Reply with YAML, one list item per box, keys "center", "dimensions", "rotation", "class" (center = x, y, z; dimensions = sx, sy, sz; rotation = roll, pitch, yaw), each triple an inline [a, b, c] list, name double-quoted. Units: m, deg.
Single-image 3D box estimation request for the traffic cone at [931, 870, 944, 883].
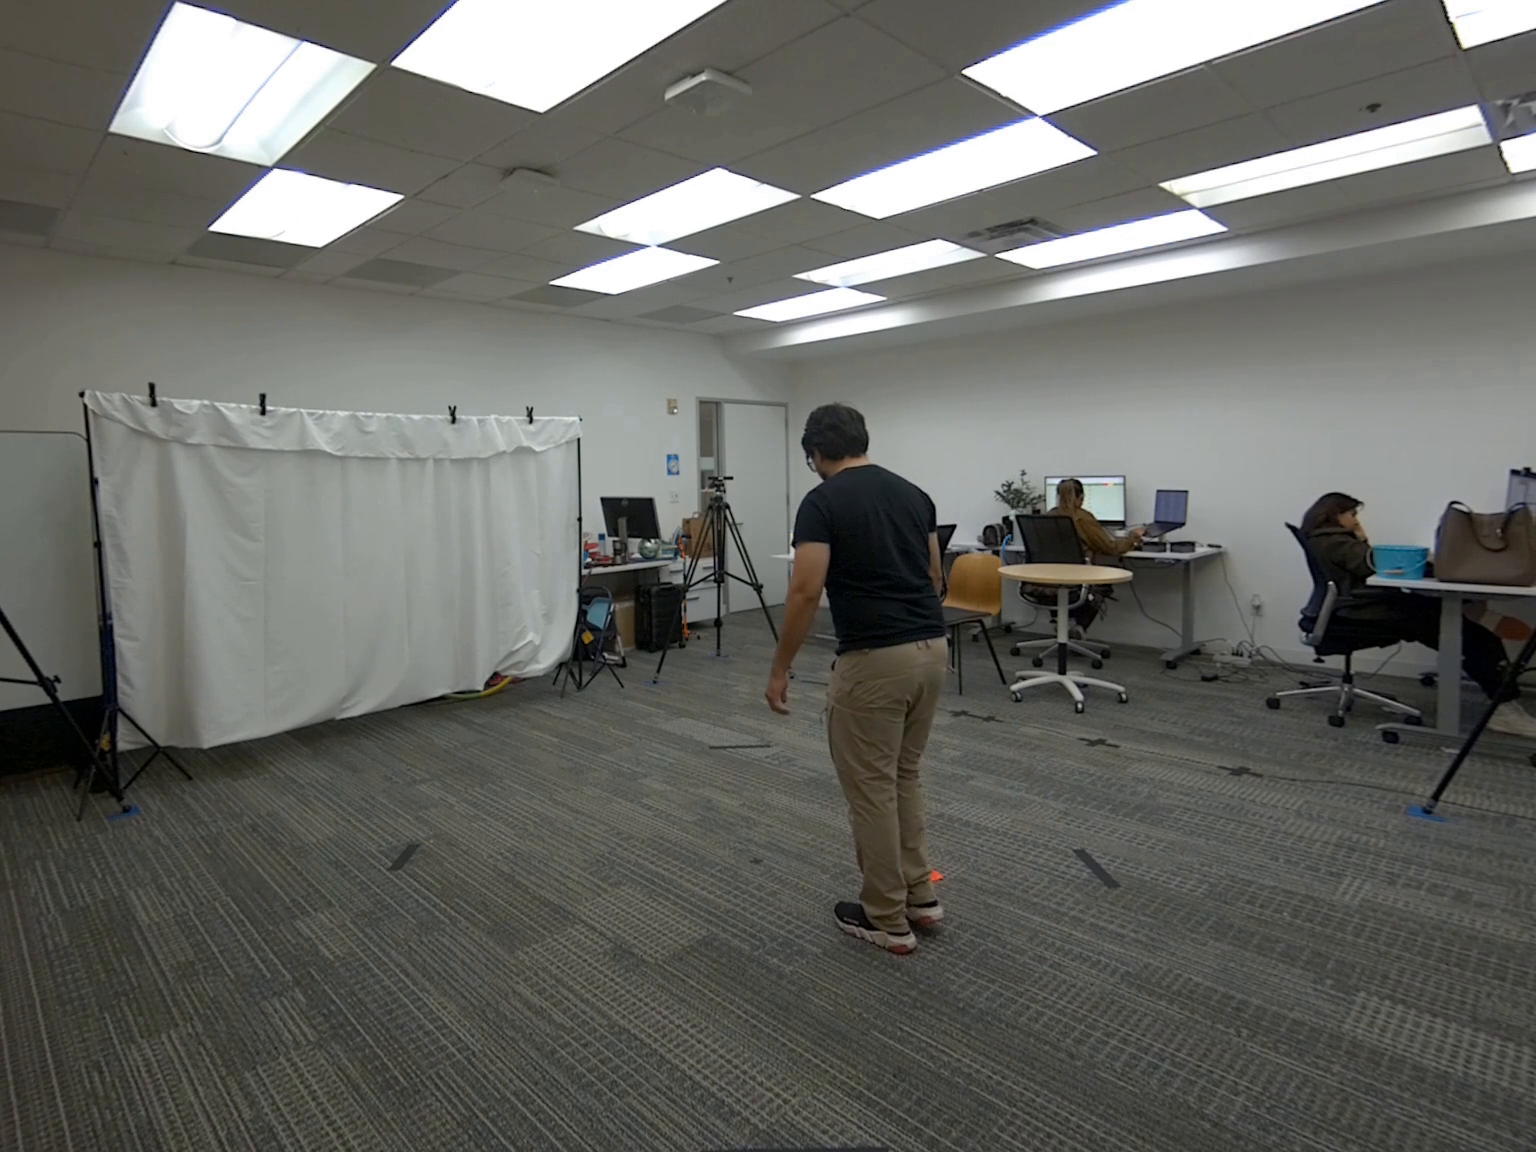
- center: [0.488, 0.858, 2.981]
  dimensions: [0.200, 0.382, 0.209]
  rotation: [-3, 5, -21]
  class: "traffic cone"
